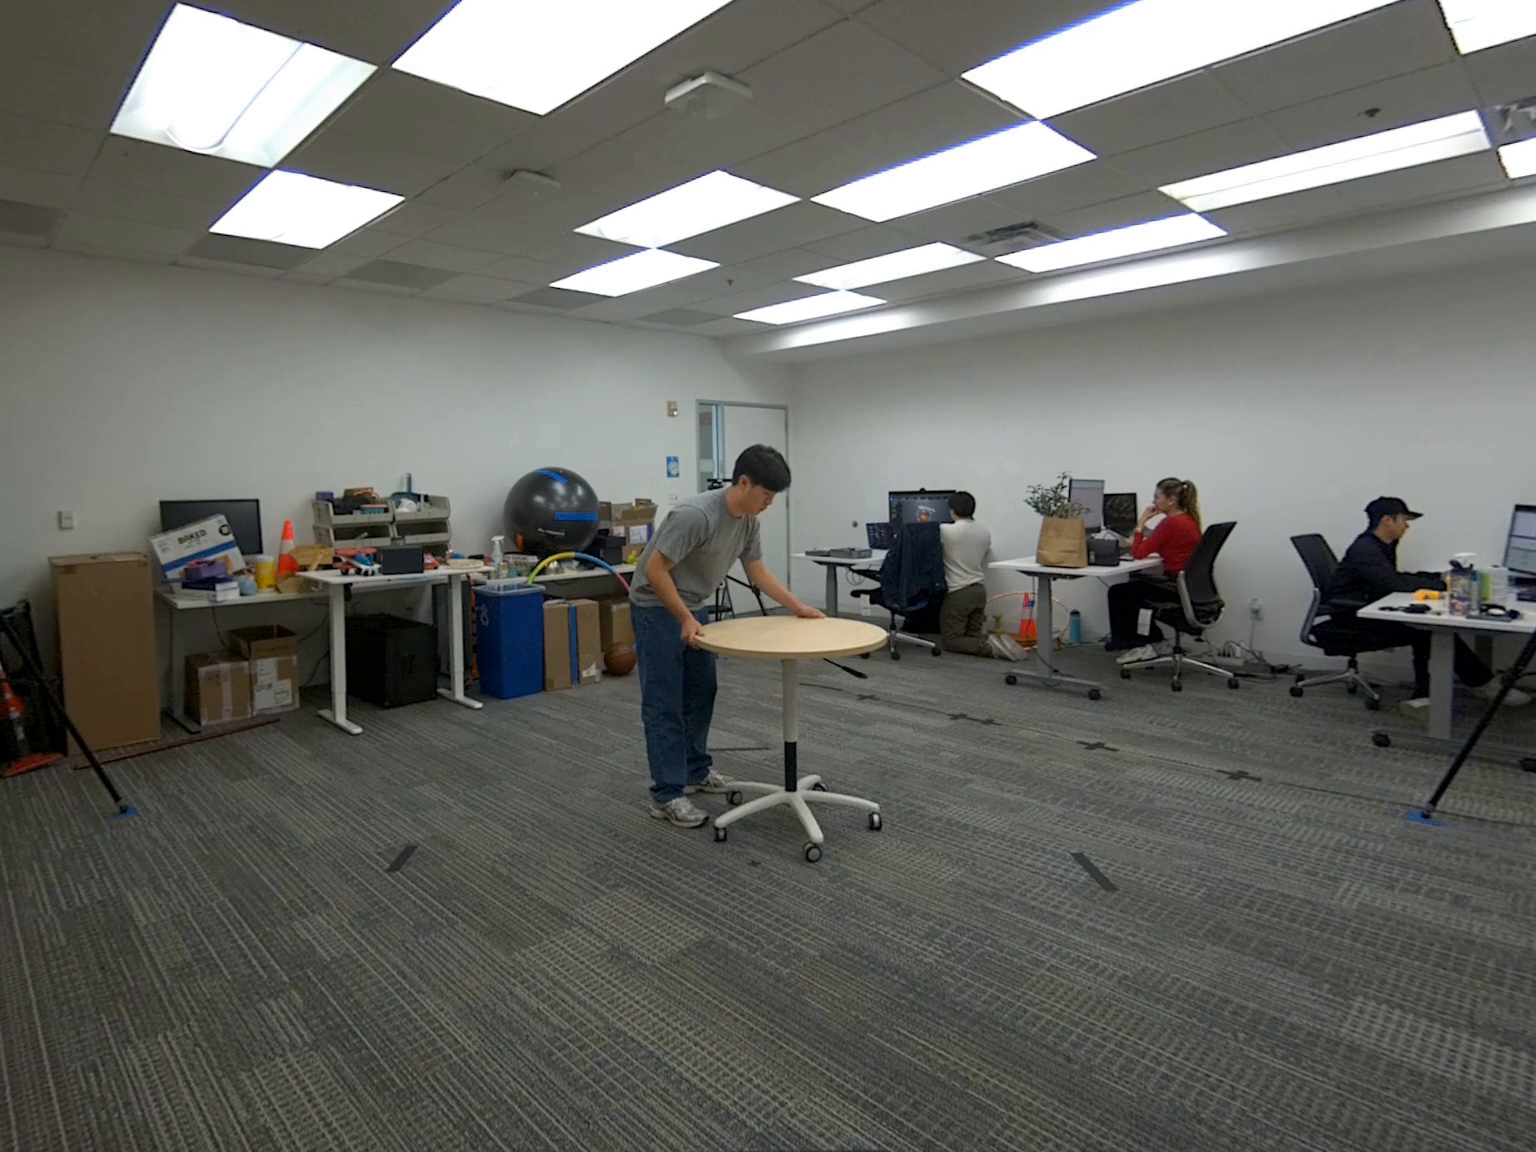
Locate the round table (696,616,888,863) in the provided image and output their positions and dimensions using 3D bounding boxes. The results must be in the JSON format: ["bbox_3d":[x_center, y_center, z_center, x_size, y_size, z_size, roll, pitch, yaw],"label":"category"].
[{"bbox_3d":[0.088,0.615,3.420,0.763,0.791,0.768,-1,5,-2],"label":"round table"}]
